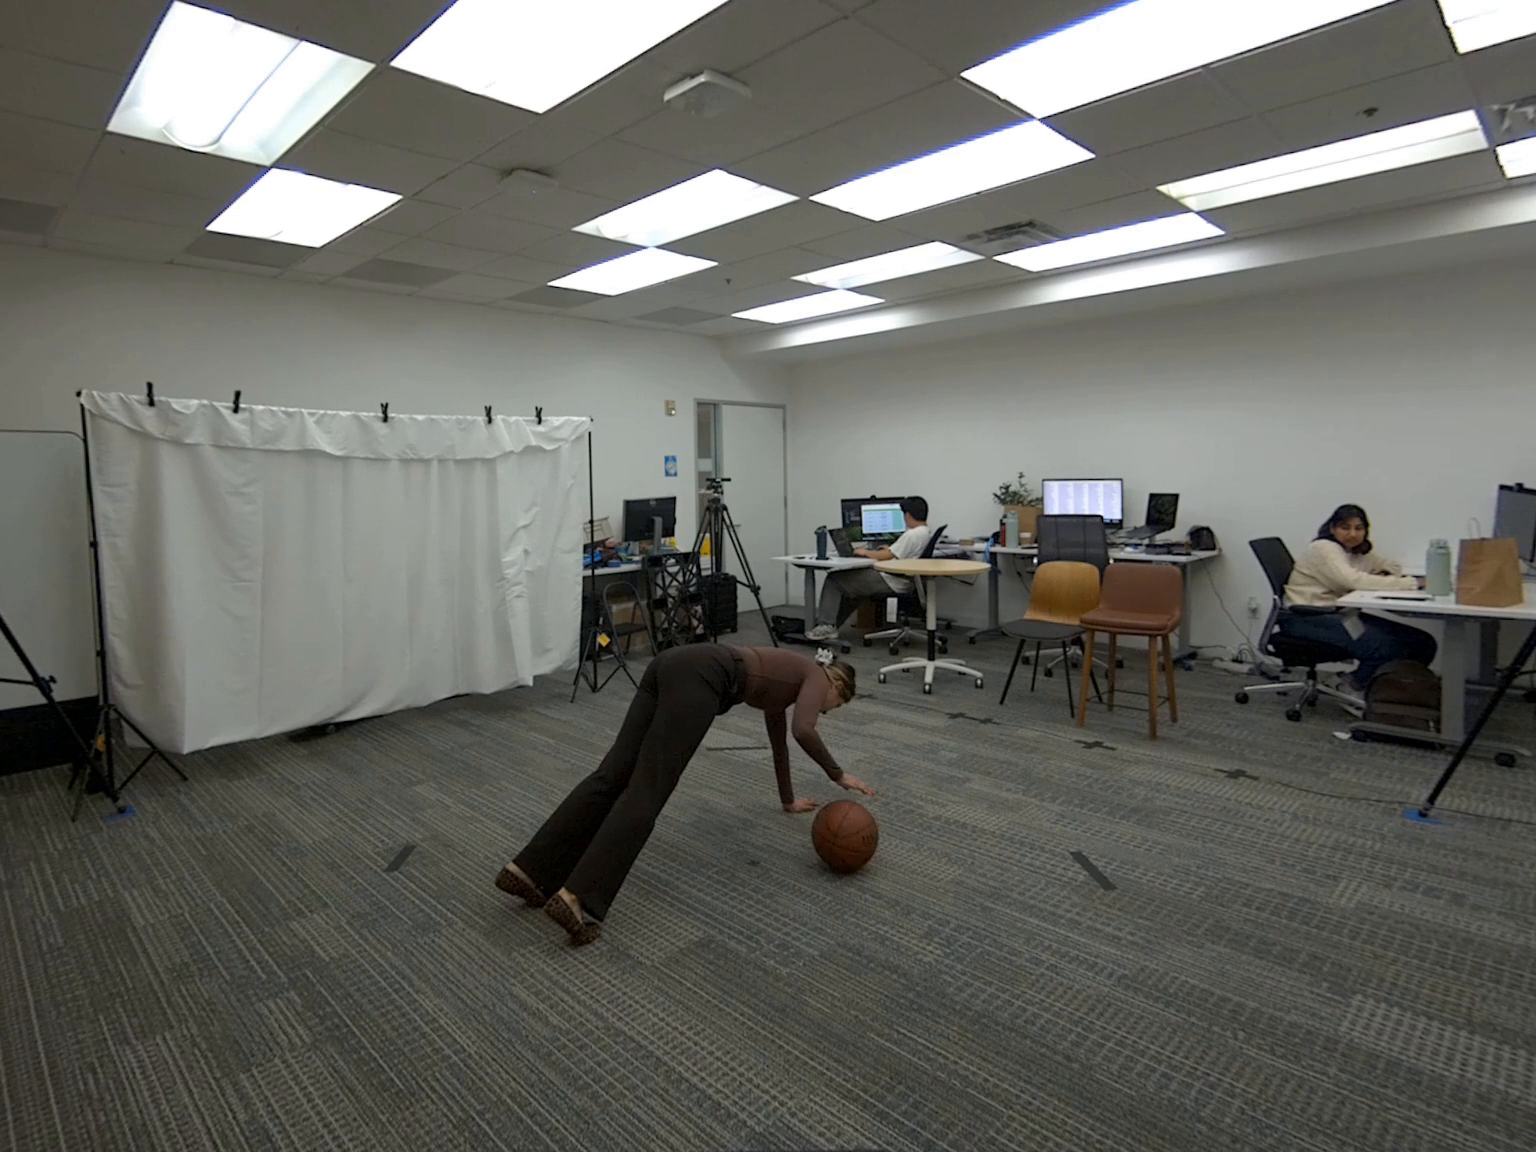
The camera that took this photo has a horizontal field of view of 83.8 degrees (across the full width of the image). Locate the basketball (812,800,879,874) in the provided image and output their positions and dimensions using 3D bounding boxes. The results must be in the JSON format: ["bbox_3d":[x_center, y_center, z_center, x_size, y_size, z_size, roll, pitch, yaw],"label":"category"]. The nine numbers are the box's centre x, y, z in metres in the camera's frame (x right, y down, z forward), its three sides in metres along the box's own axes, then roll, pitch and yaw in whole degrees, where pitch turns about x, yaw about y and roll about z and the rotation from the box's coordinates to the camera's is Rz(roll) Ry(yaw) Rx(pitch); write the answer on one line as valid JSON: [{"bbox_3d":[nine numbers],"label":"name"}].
[{"bbox_3d":[0.273,0.918,3.052,0.236,0.235,0.237,-1,5,-2],"label":"basketball"}]
